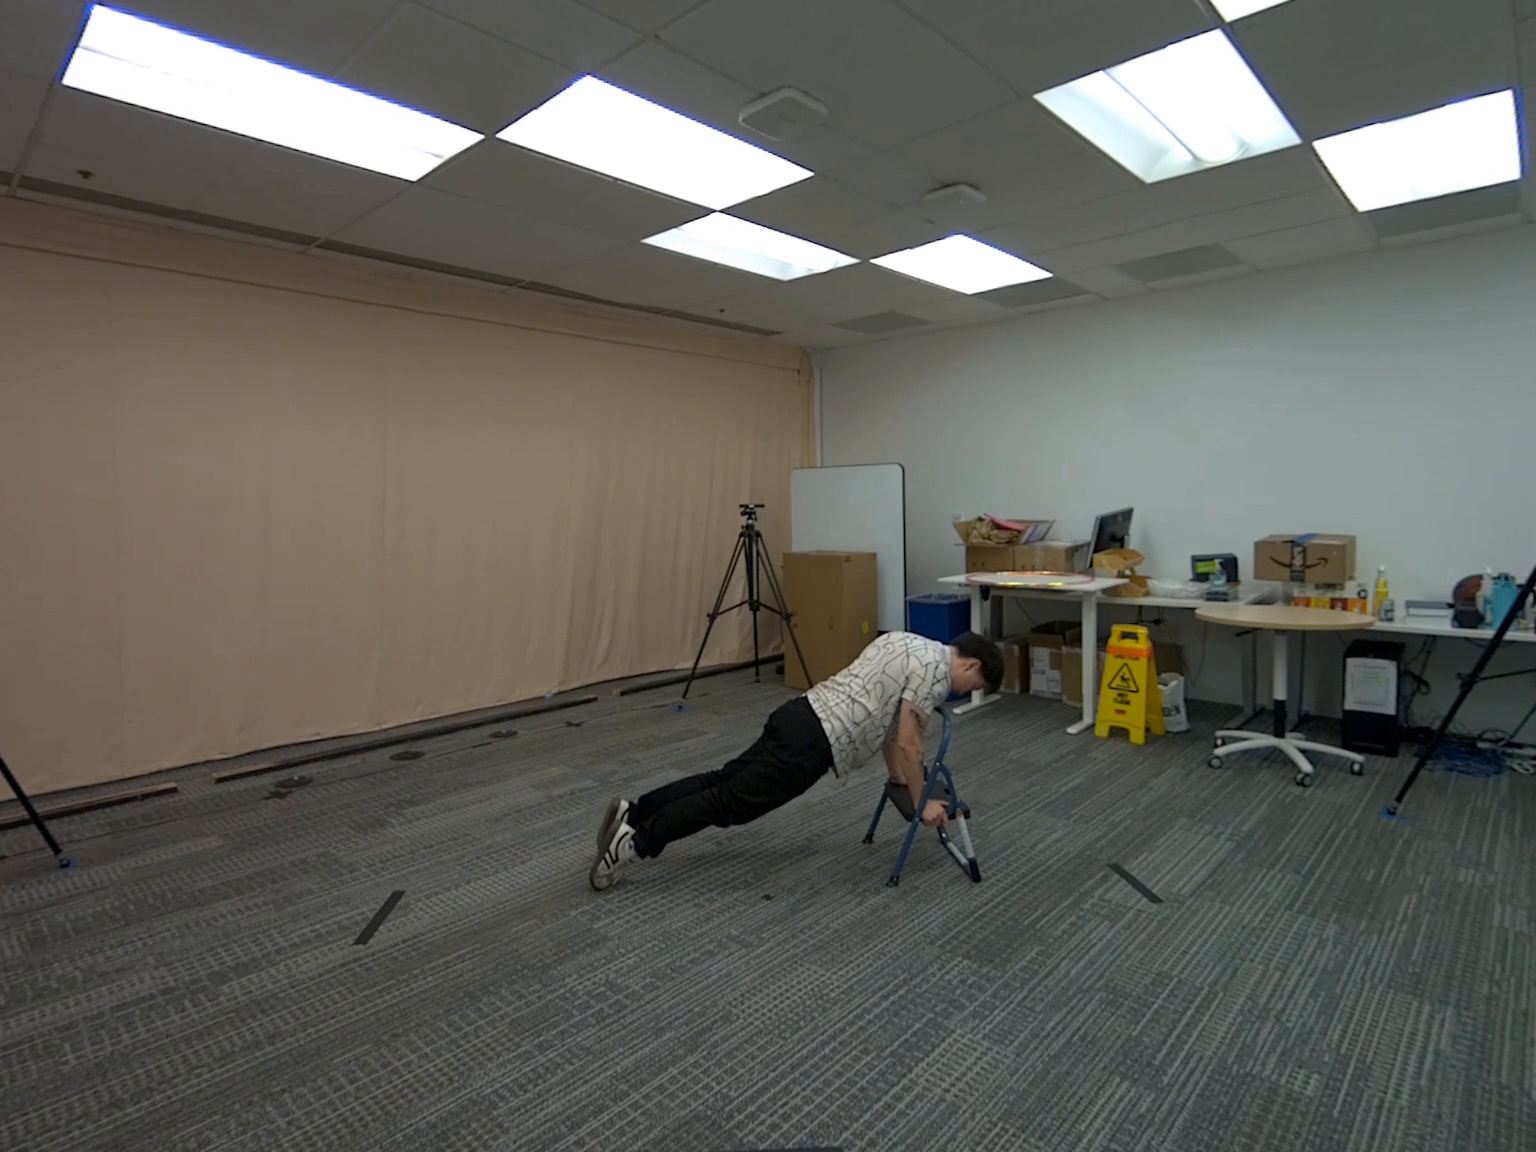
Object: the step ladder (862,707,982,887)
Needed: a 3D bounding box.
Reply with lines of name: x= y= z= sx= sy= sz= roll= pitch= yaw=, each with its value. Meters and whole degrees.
step ladder: x=0.586 y=0.809 z=3.247 sx=0.348 sy=0.604 sz=0.434 roll=-2 pitch=4 yaw=-6
